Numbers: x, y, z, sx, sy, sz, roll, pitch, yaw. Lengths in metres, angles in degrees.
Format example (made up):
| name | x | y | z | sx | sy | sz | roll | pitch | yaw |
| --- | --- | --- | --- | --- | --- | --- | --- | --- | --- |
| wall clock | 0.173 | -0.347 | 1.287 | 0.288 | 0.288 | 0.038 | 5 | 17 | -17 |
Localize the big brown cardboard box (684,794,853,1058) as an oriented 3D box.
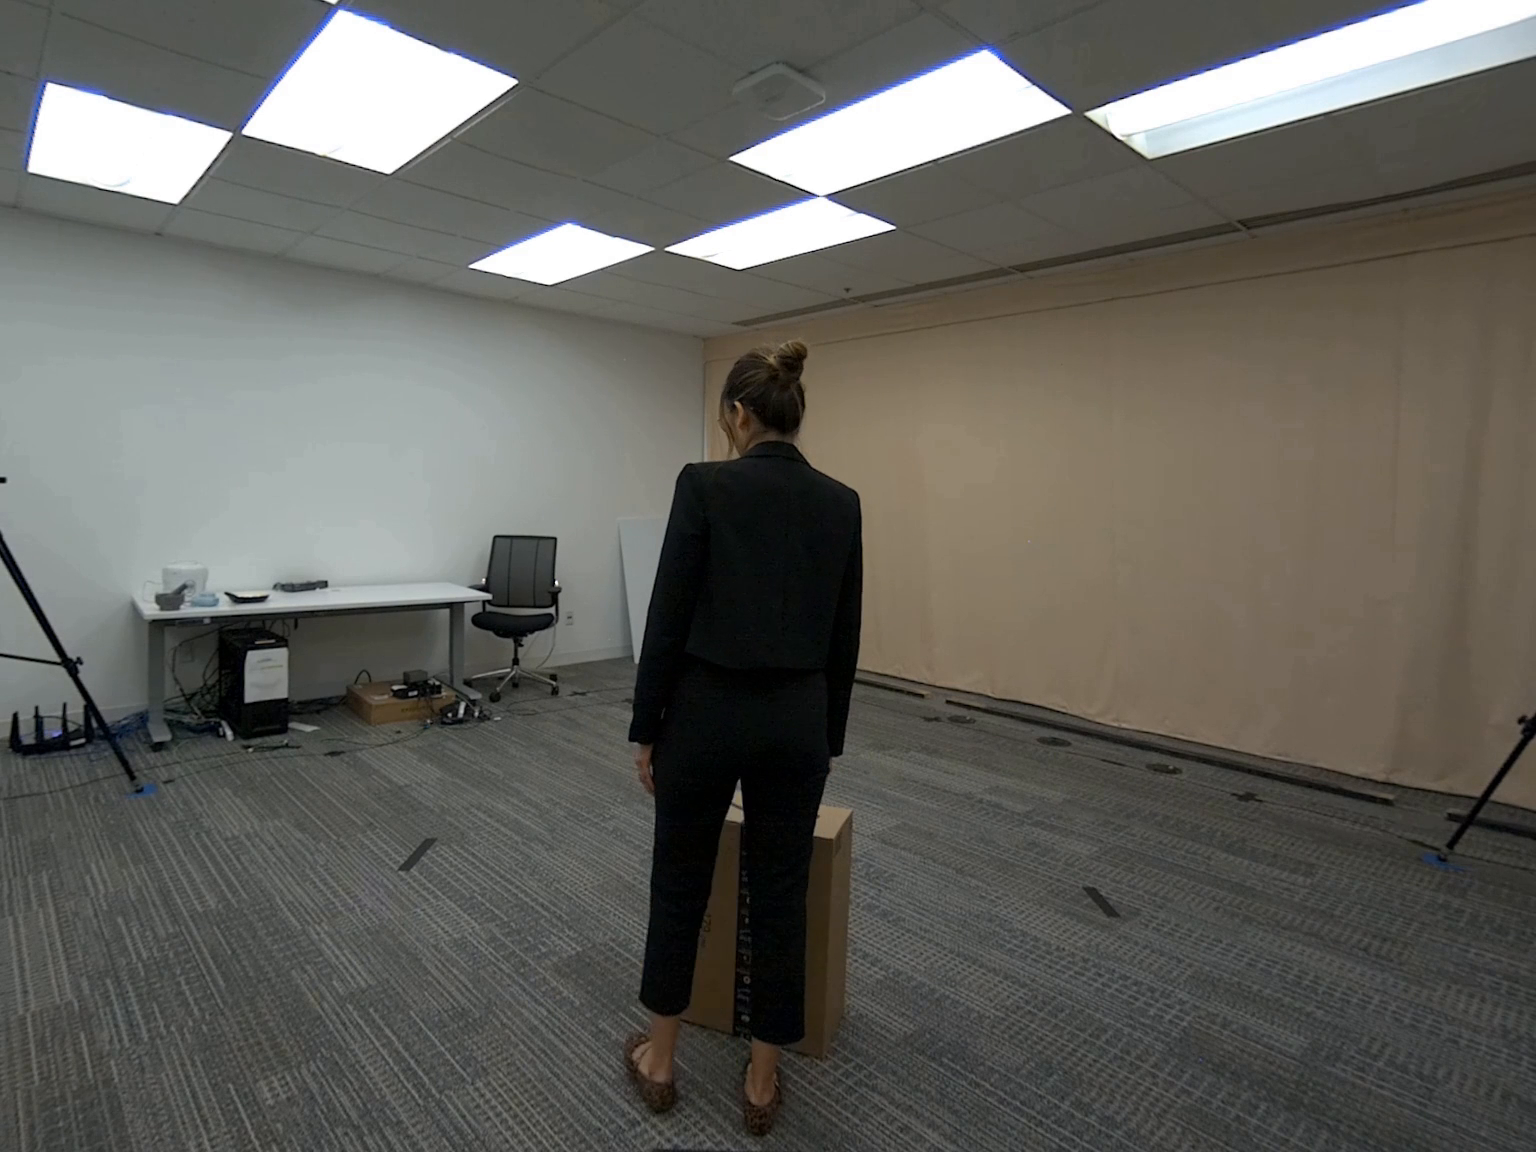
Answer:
| name | x | y | z | sx | sy | sz | roll | pitch | yaw |
| --- | --- | --- | --- | --- | --- | --- | --- | --- | --- |
| big brown cardboard box | -0.011 | 0.910 | 2.242 | 0.424 | 0.587 | 0.230 | 4 | 5 | 20 |
